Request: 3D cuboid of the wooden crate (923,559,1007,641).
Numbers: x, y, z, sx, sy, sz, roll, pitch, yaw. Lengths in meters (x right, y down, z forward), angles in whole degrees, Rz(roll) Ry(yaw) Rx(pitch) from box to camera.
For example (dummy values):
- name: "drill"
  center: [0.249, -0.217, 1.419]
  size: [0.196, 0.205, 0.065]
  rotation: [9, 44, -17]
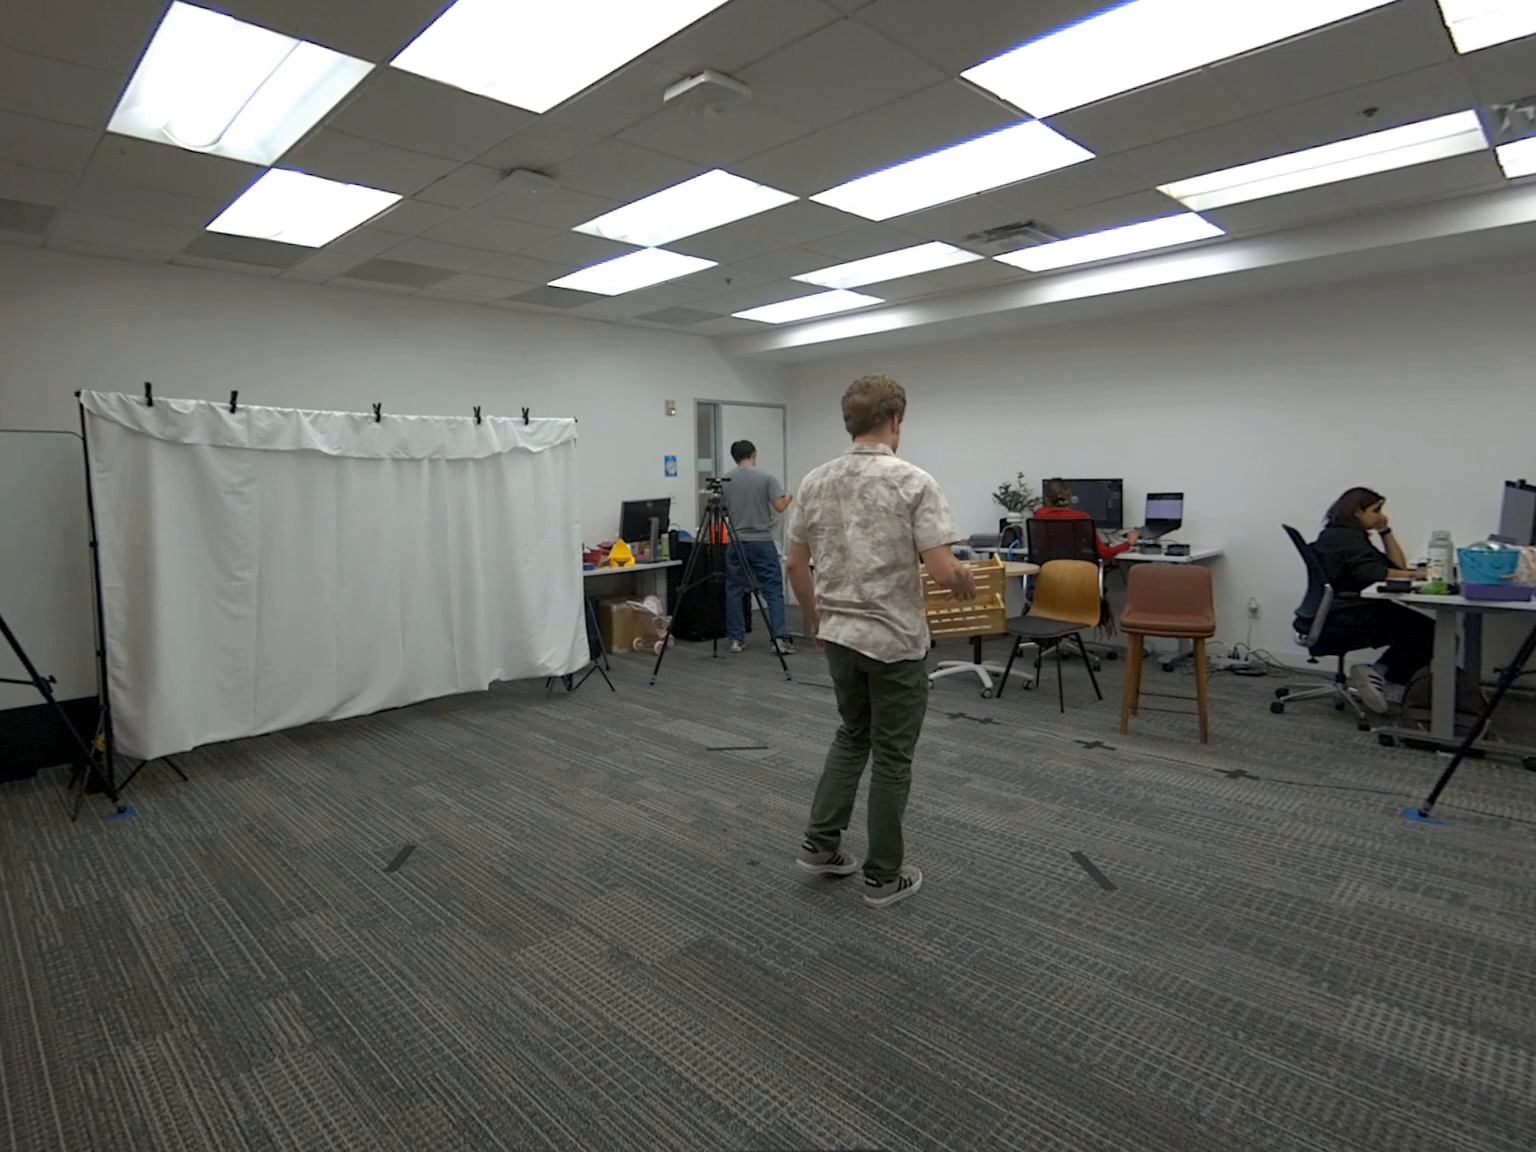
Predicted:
- name: "wooden crate"
  center: [0.686, 0.056, 3.049]
  size: [0.328, 0.268, 0.305]
  rotation: [-7, 19, 11]
